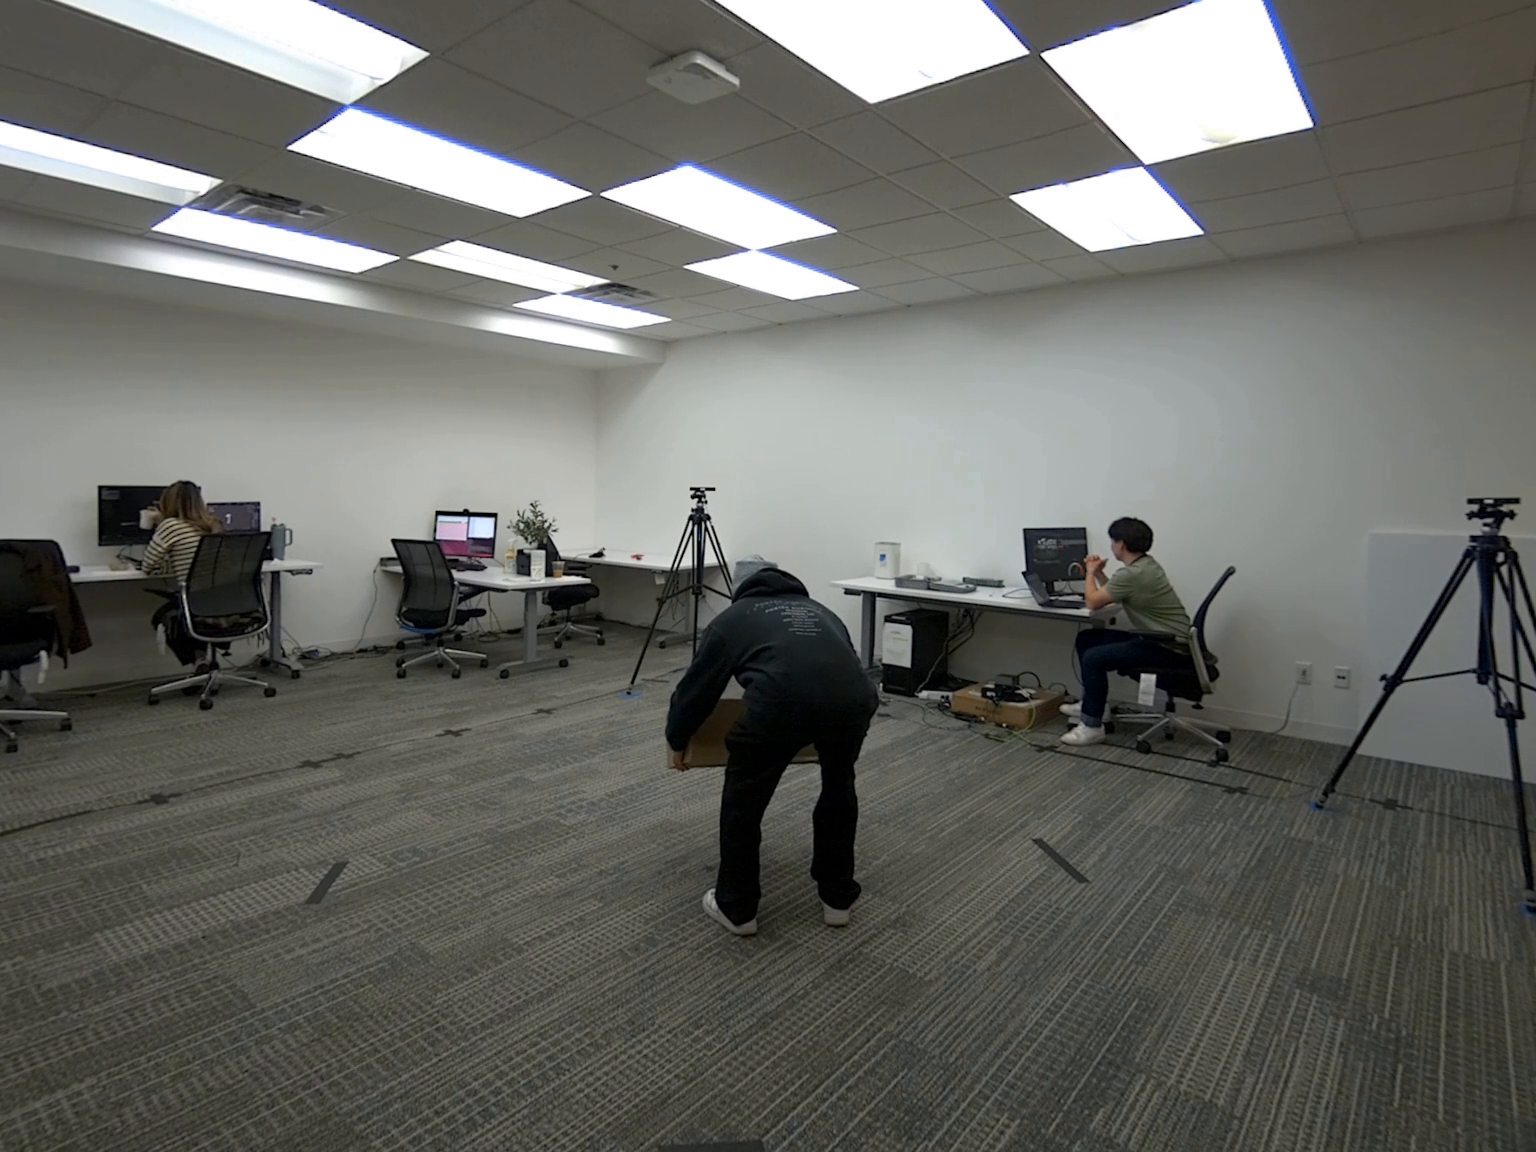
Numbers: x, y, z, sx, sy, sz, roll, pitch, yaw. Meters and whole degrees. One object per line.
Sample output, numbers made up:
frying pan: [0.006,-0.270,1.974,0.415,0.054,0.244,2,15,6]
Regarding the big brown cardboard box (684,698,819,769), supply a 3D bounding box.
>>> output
big brown cardboard box: [-0.073,0.596,3.222,0.580,0.237,0.417,2,-17,-14]
